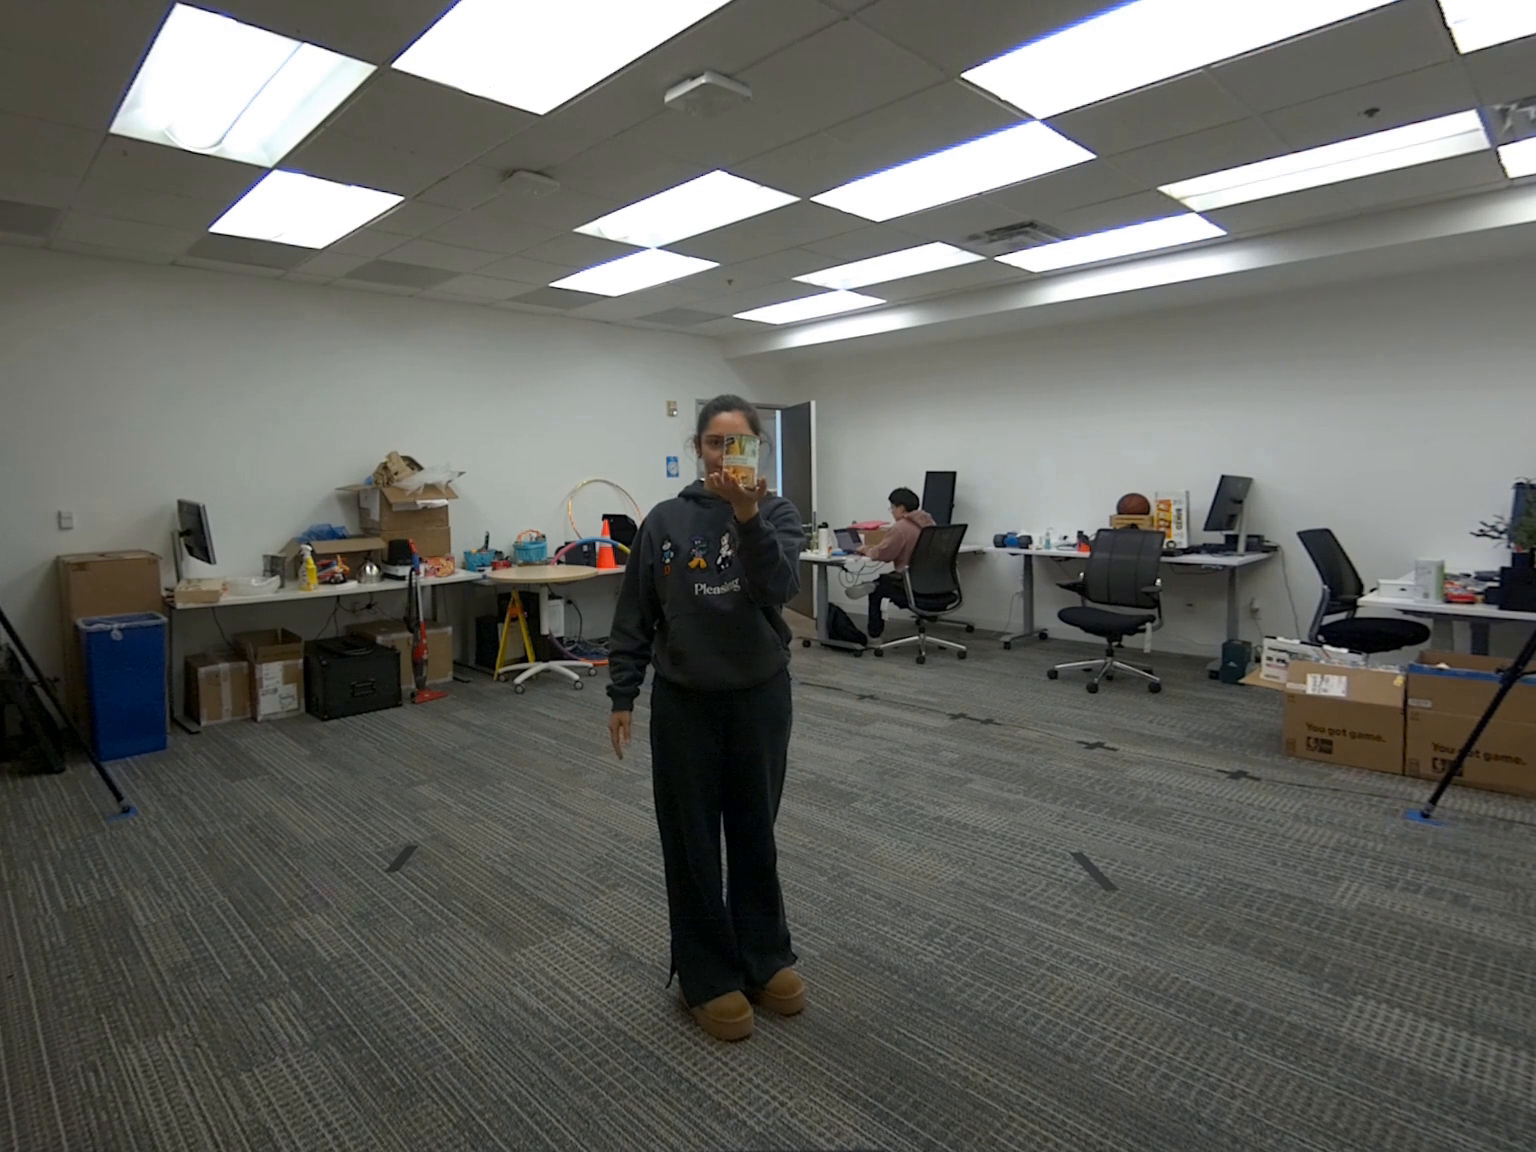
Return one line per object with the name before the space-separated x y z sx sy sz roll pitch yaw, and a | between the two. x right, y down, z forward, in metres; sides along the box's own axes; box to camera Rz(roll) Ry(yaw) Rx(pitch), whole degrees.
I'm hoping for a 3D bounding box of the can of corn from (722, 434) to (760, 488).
can of corn | -0.060 -0.242 1.814 0.074 0.111 0.074 4 -3 -1
